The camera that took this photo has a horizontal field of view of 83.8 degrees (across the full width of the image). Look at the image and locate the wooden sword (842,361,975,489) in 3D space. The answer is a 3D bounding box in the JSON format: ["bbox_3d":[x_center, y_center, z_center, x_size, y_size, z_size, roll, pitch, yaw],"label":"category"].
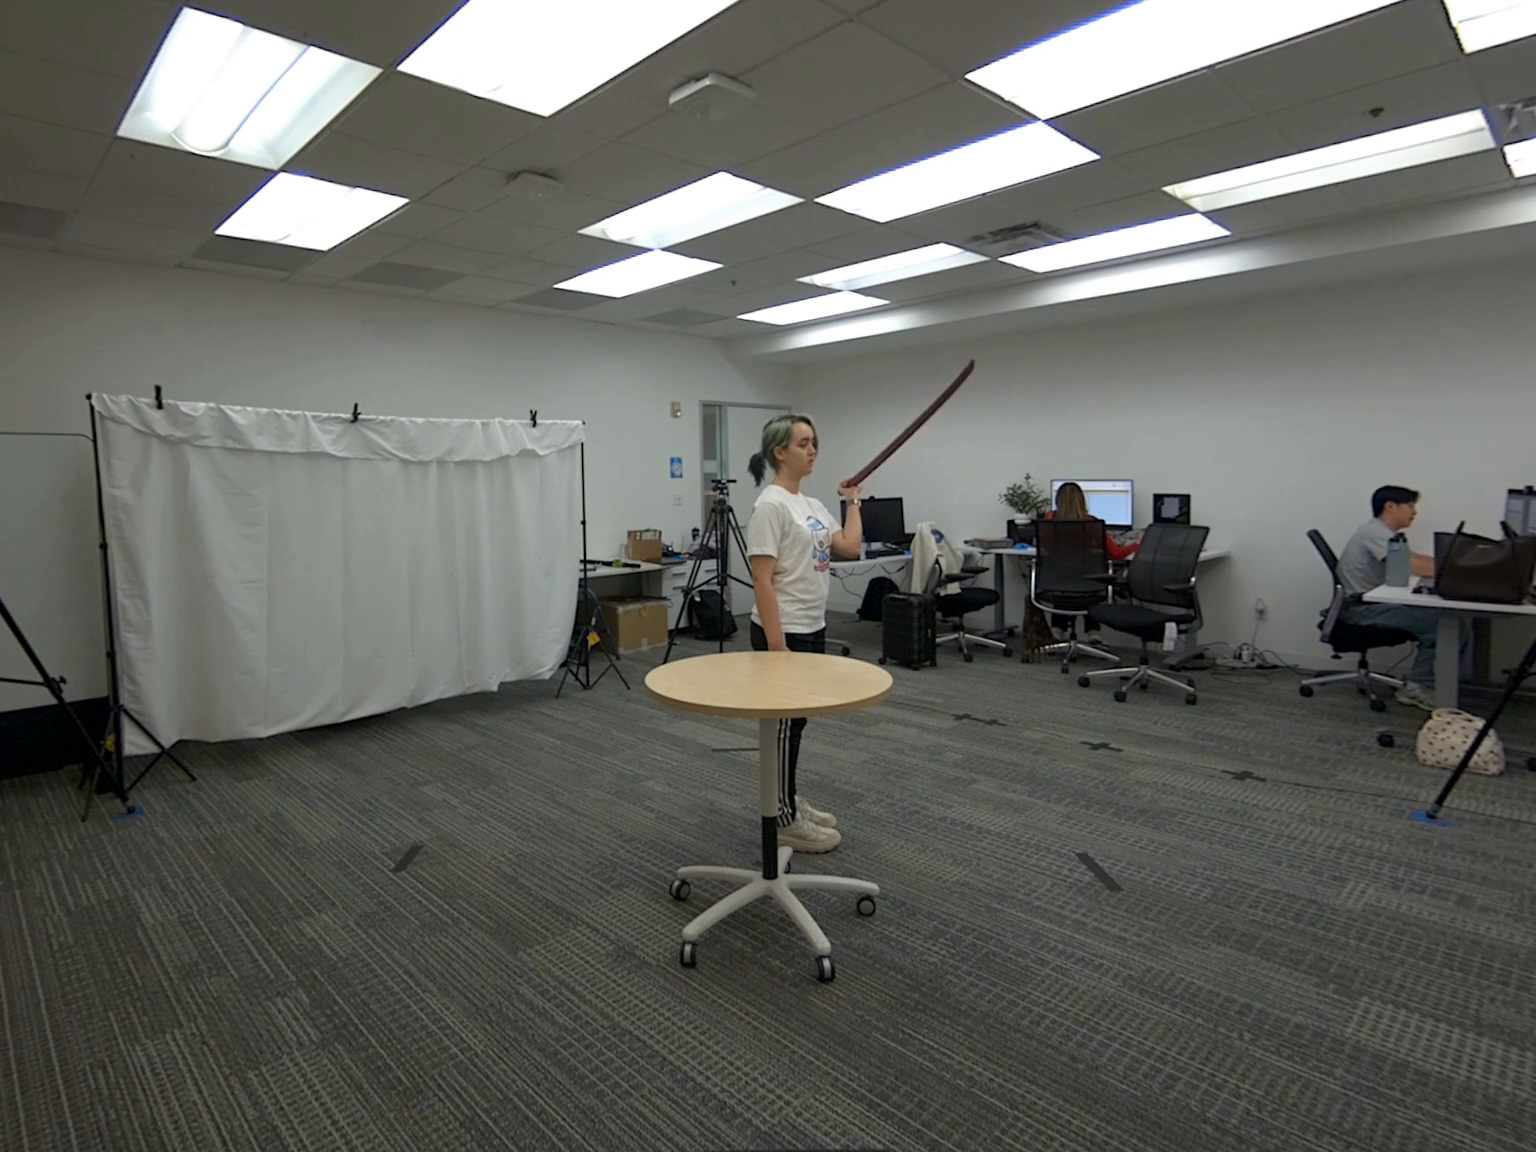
[{"bbox_3d":[0.479,-0.470,3.035,0.024,0.052,1.022,20,-23,-10],"label":"wooden sword"}]
